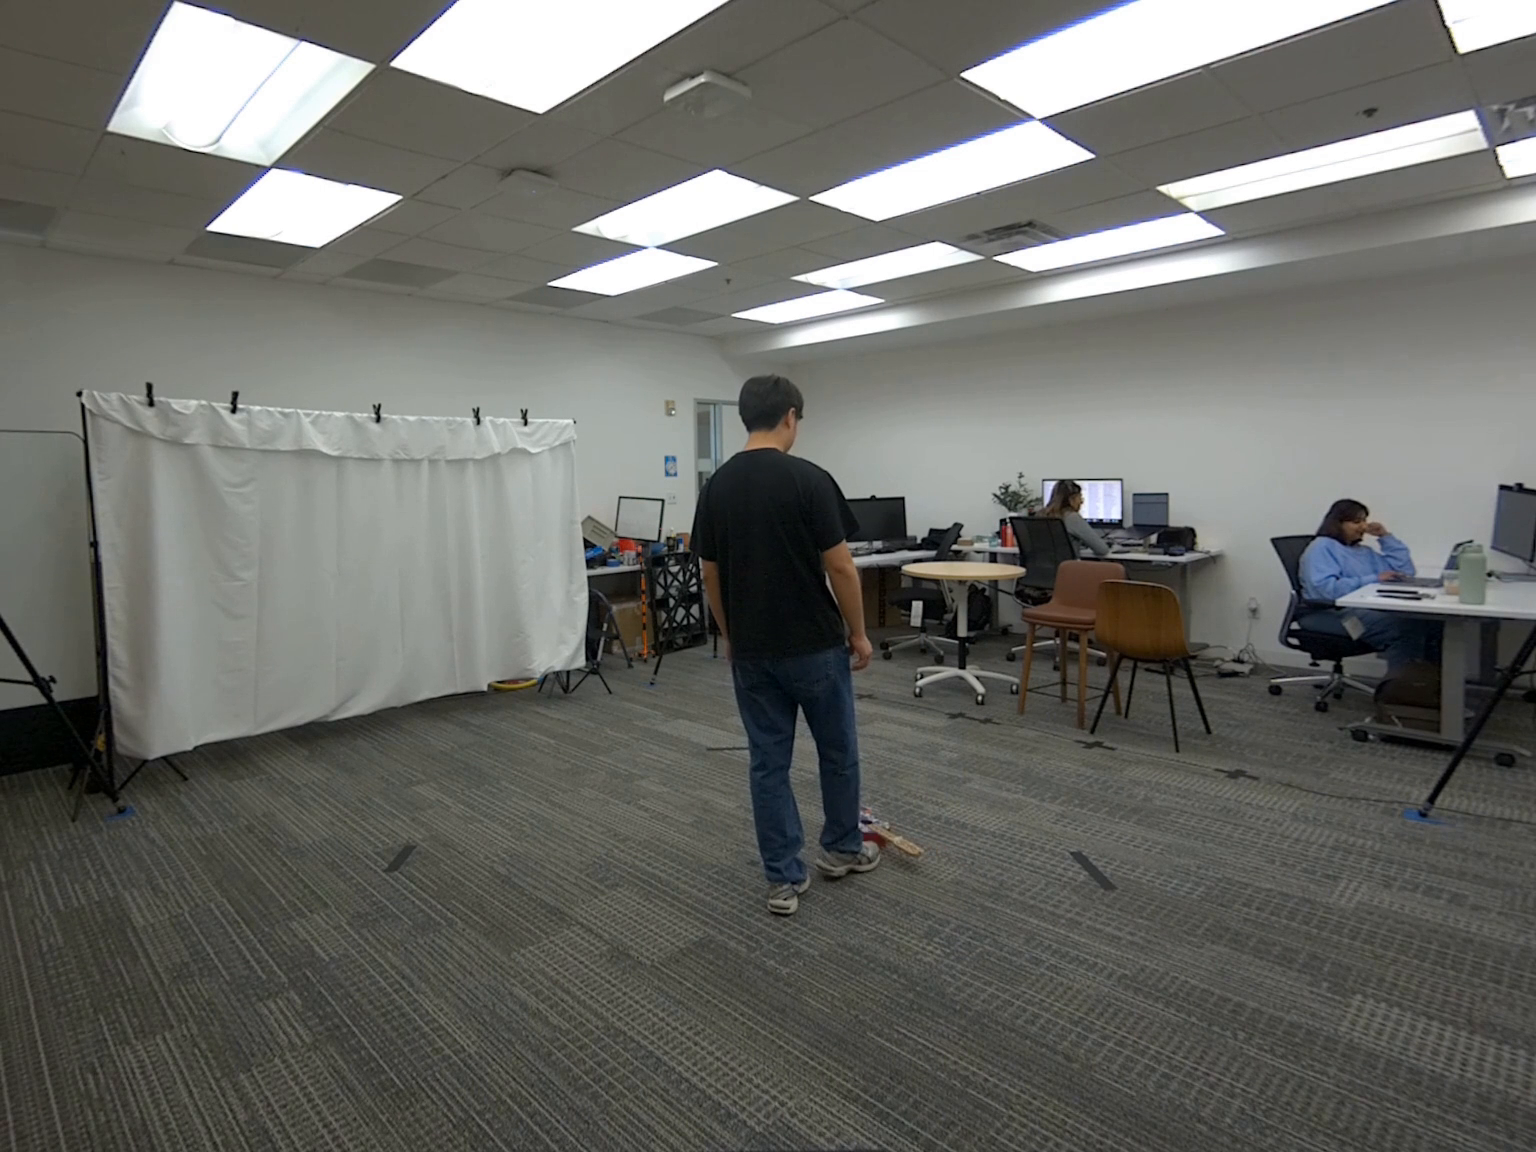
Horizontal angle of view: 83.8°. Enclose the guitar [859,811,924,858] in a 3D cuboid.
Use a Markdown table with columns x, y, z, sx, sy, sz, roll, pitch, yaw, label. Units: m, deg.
| x | y | z | sx | sy | sz | roll | pitch | yaw | label |
| --- | --- | --- | --- | --- | --- | --- | --- | --- | --- |
| 0.394 | 0.988 | 3.236 | 0.190 | 0.070 | 0.508 | -2 | 6 | -19 | guitar |
